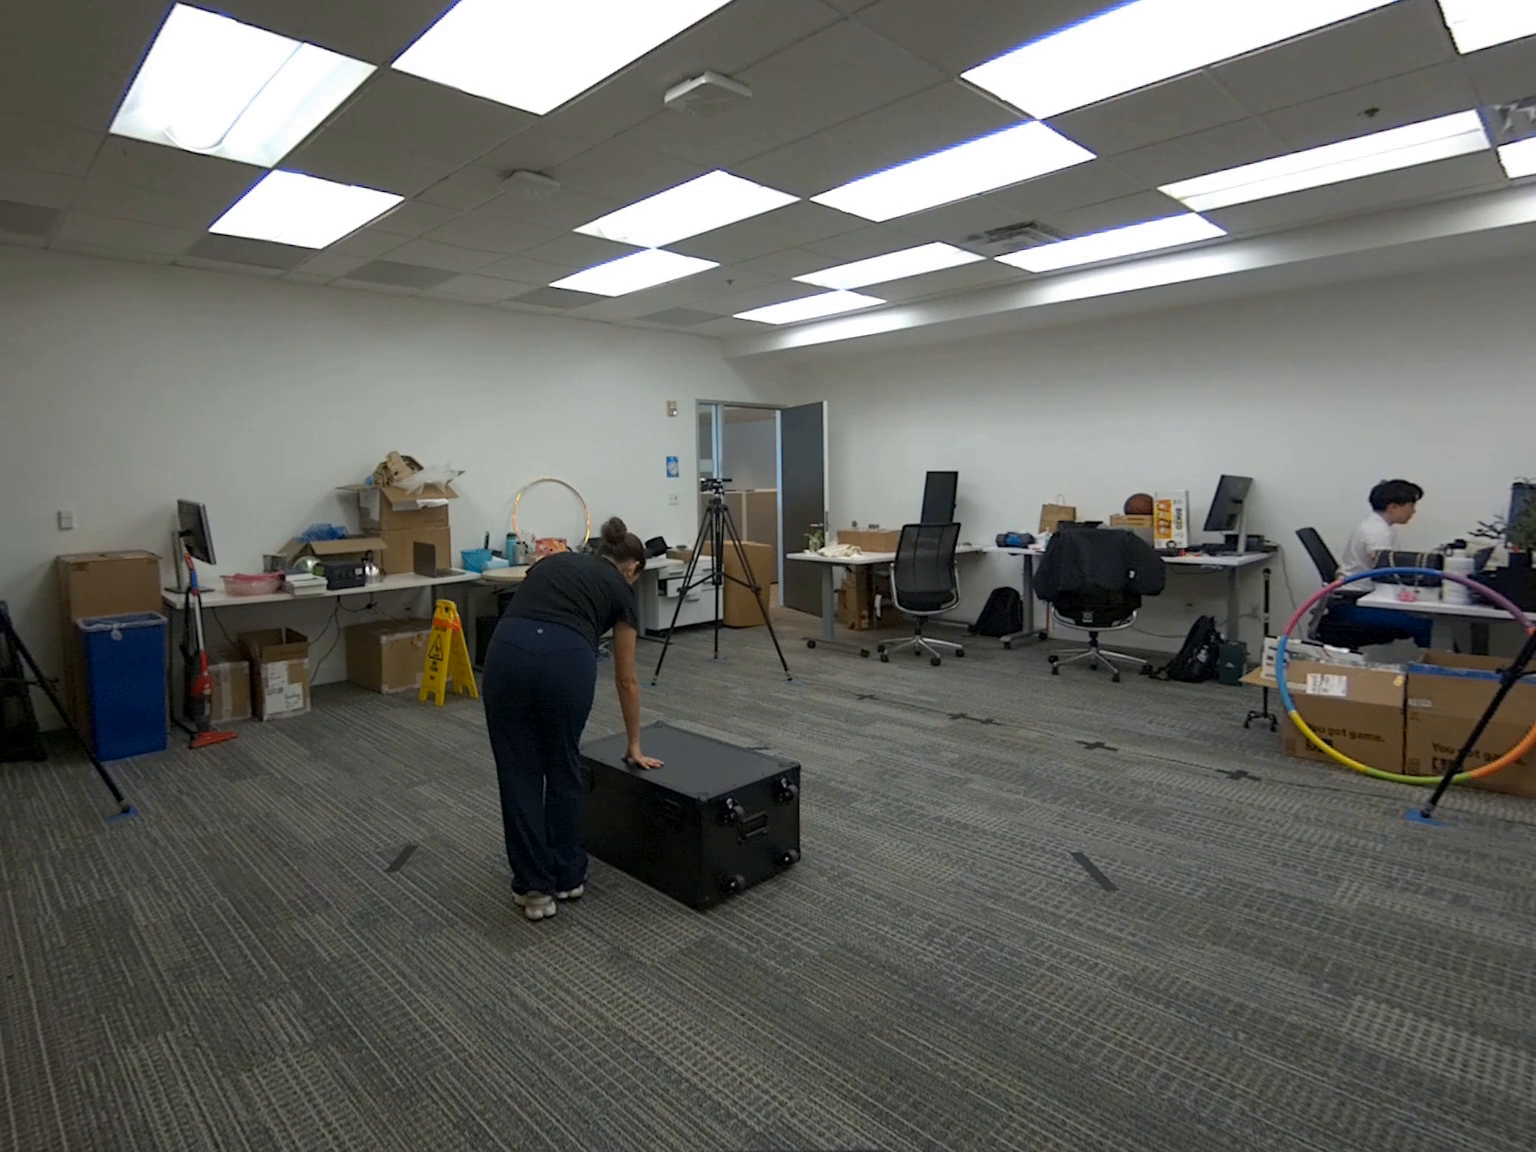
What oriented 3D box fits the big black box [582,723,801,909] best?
[{"bbox_3d":[-0.302,0.836,3.168,0.889,0.394,0.507,6,8,44],"label":"big black box"}]
